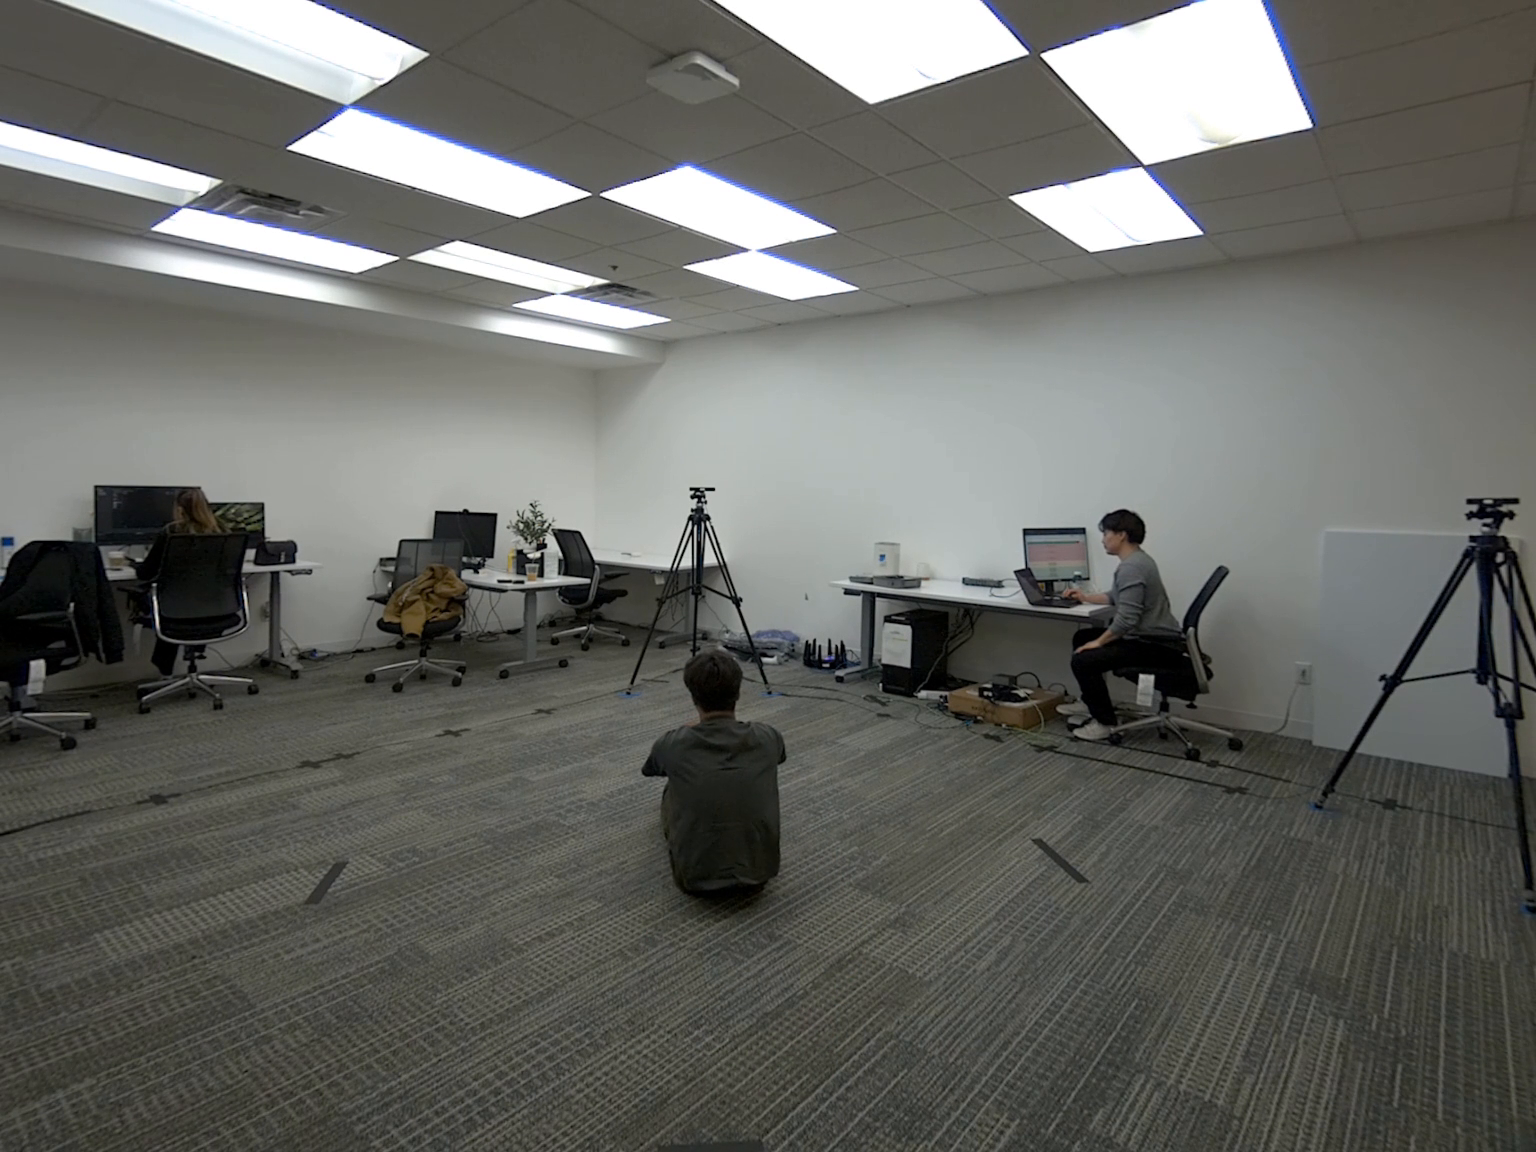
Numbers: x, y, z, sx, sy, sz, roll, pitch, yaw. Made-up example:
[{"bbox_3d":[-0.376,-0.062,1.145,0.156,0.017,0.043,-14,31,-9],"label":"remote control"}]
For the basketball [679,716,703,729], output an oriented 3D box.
[{"bbox_3d":[-0.325,0.736,3.580,0.235,0.235,0.237,1,4,-2],"label":"basketball"}]
